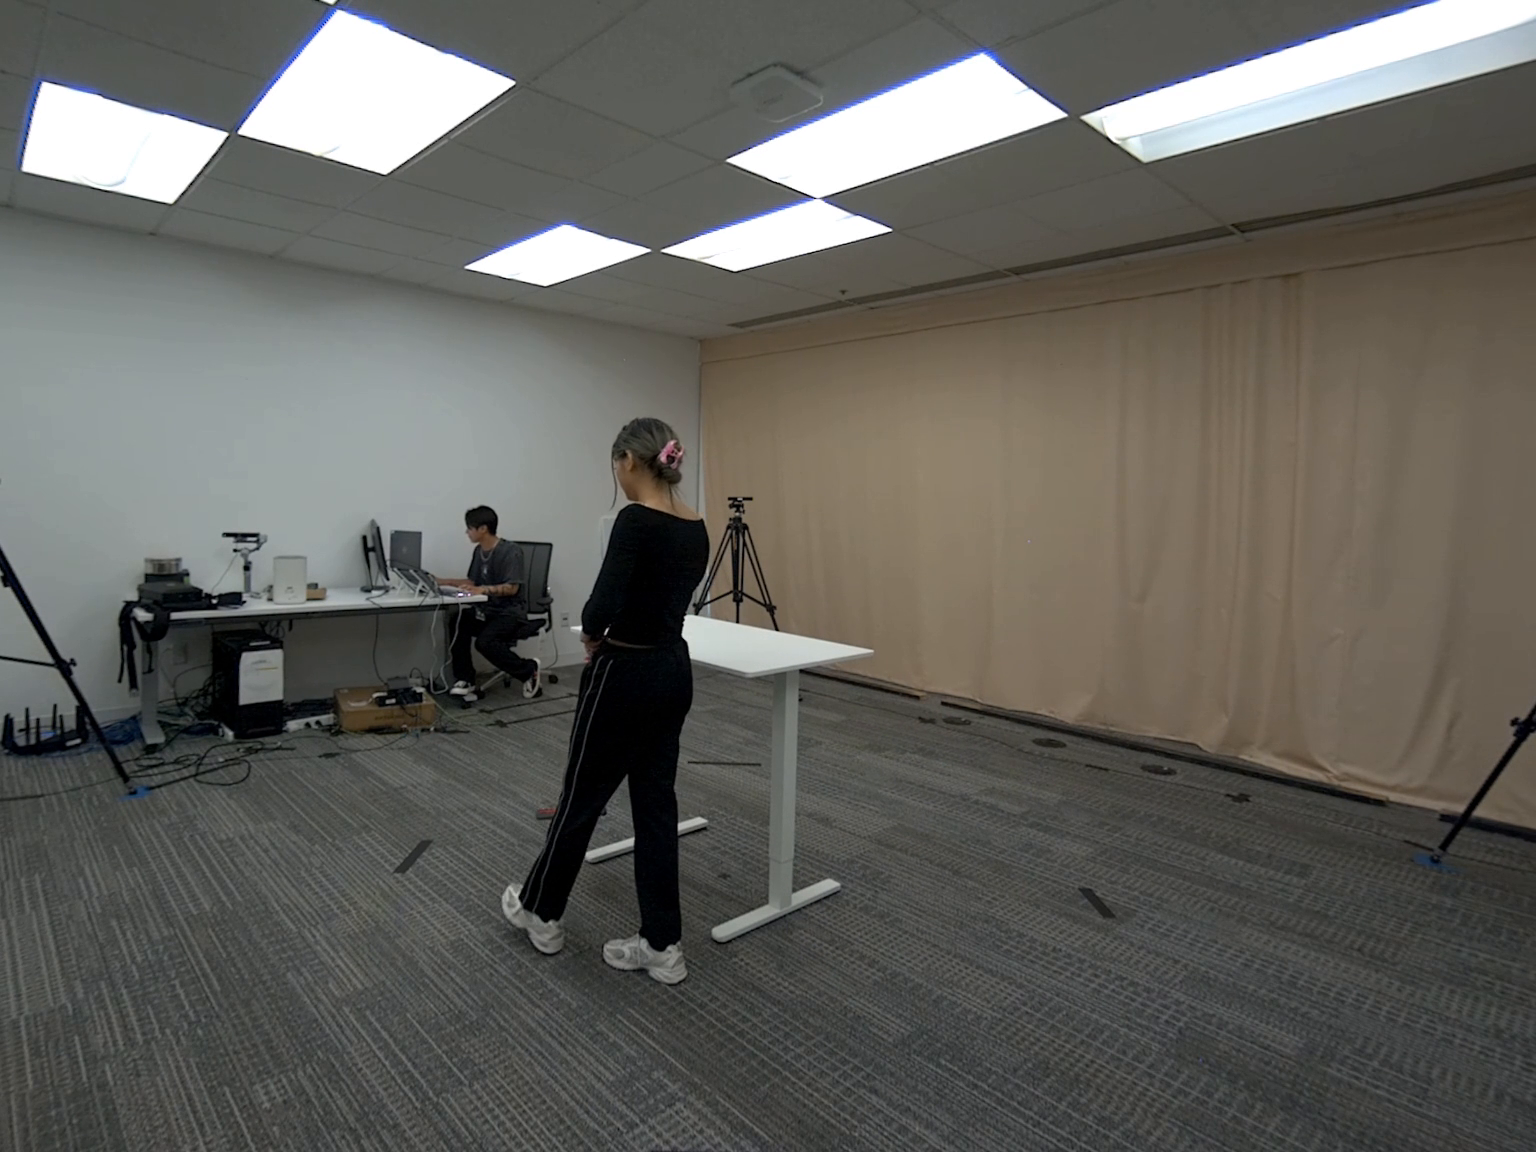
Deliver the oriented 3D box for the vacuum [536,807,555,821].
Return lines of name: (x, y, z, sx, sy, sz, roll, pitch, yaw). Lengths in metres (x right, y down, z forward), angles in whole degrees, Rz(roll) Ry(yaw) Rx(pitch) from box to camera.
vacuum: (-0.611, 0.513, 2.703, 0.249, 1.033, 0.148, -1, 41, -18)
